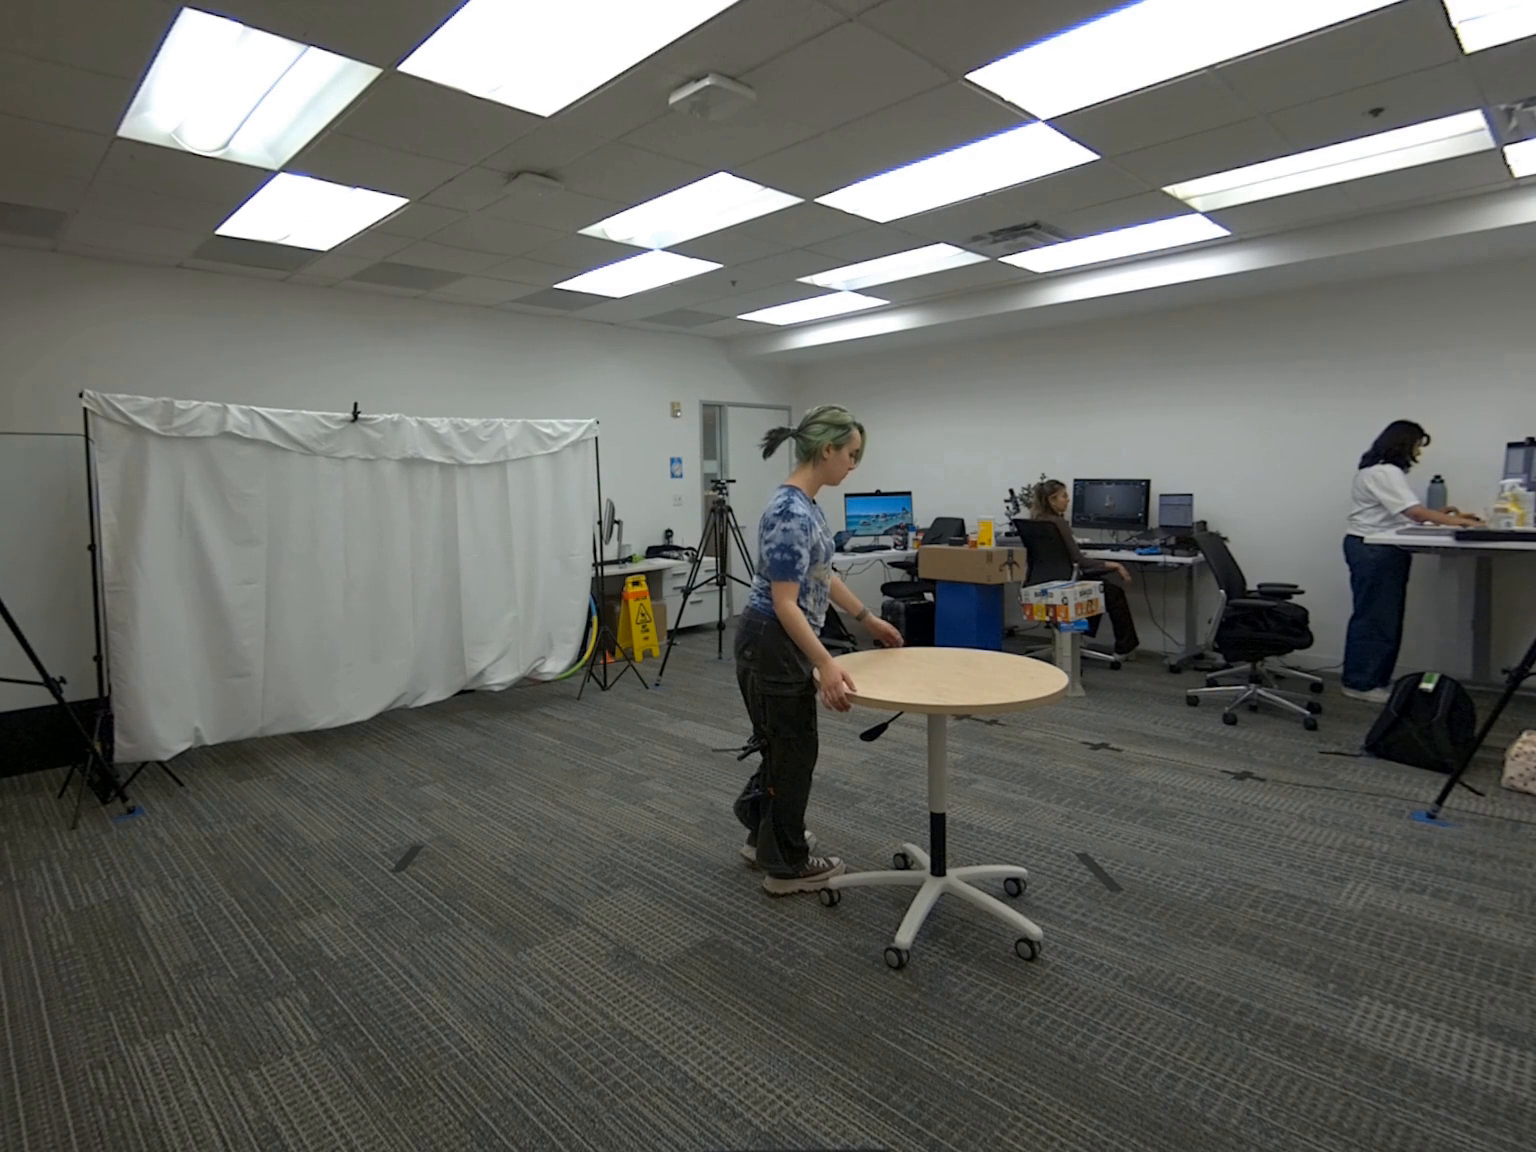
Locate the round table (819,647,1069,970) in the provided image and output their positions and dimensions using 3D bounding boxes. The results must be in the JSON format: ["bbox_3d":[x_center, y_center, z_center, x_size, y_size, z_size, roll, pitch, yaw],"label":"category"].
[{"bbox_3d":[0.540,0.694,2.679,0.763,0.790,0.768,-1,5,-2],"label":"round table"}]
